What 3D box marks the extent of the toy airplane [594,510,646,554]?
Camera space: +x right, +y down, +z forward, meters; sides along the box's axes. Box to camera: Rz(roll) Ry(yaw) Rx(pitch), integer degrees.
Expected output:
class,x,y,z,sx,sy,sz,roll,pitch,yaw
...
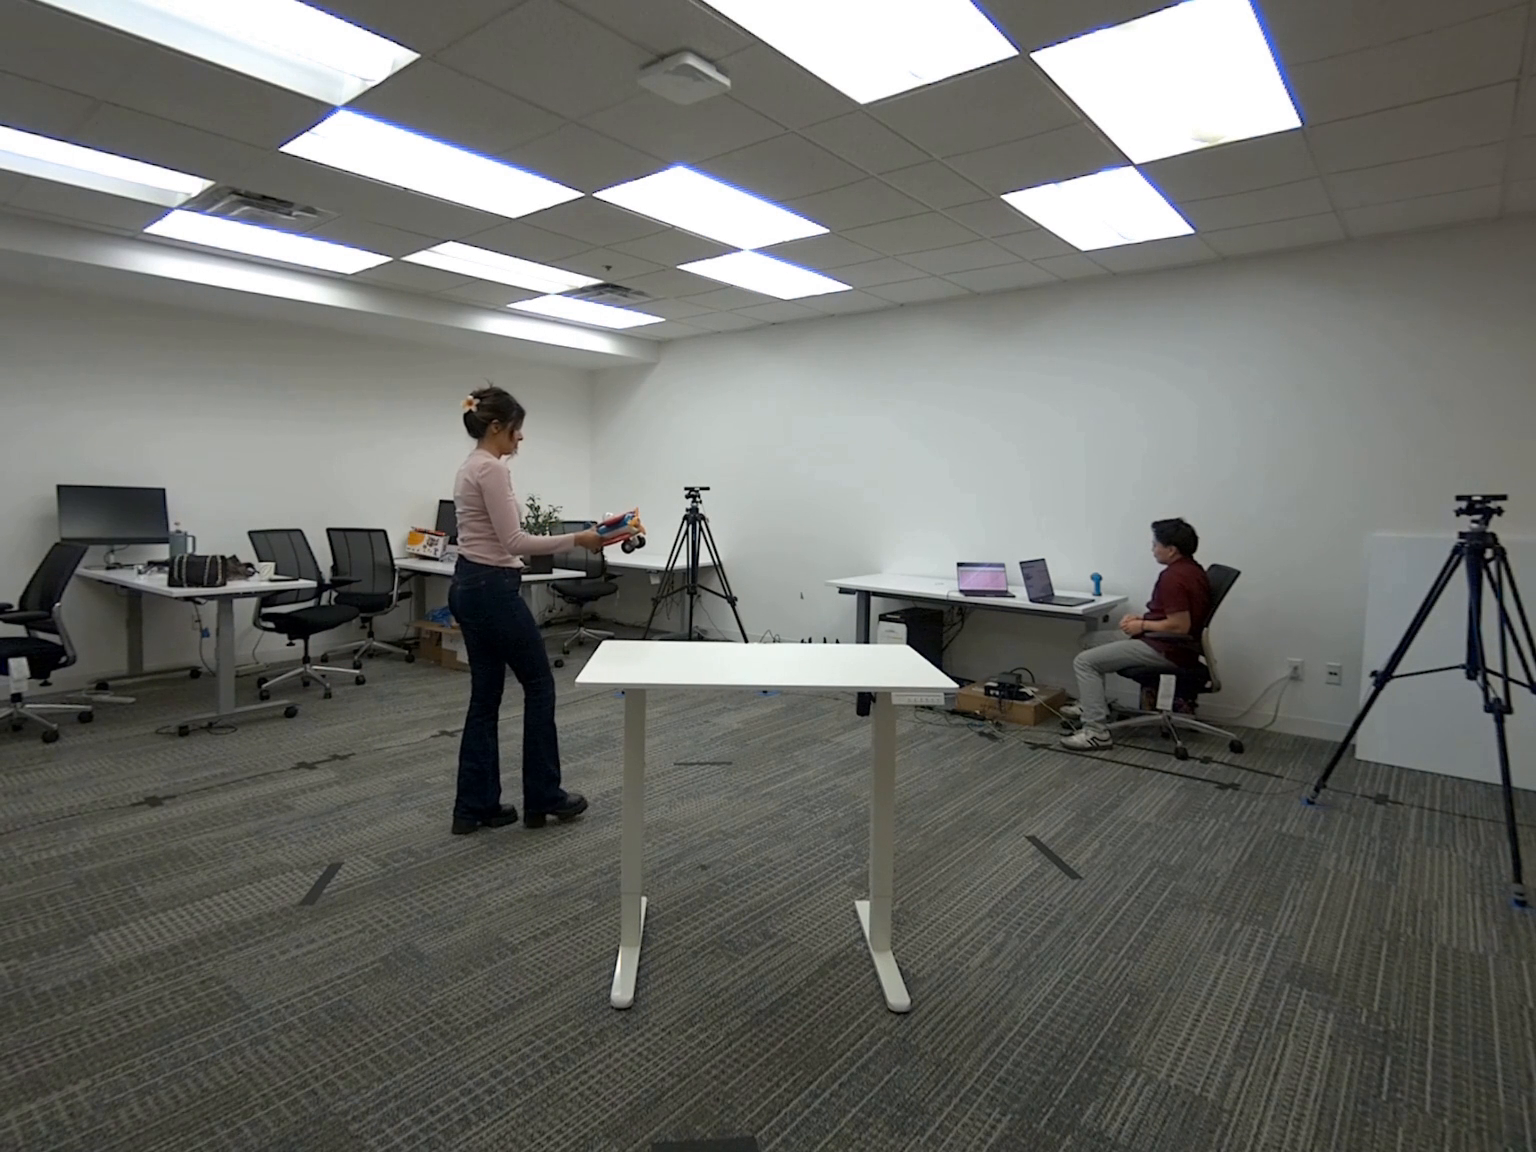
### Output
class,x,y,z,sx,sy,sz,roll,pitch,yaw
toy airplane,-0.640,-0.171,3.406,0.259,0.154,0.255,-9,13,-3
